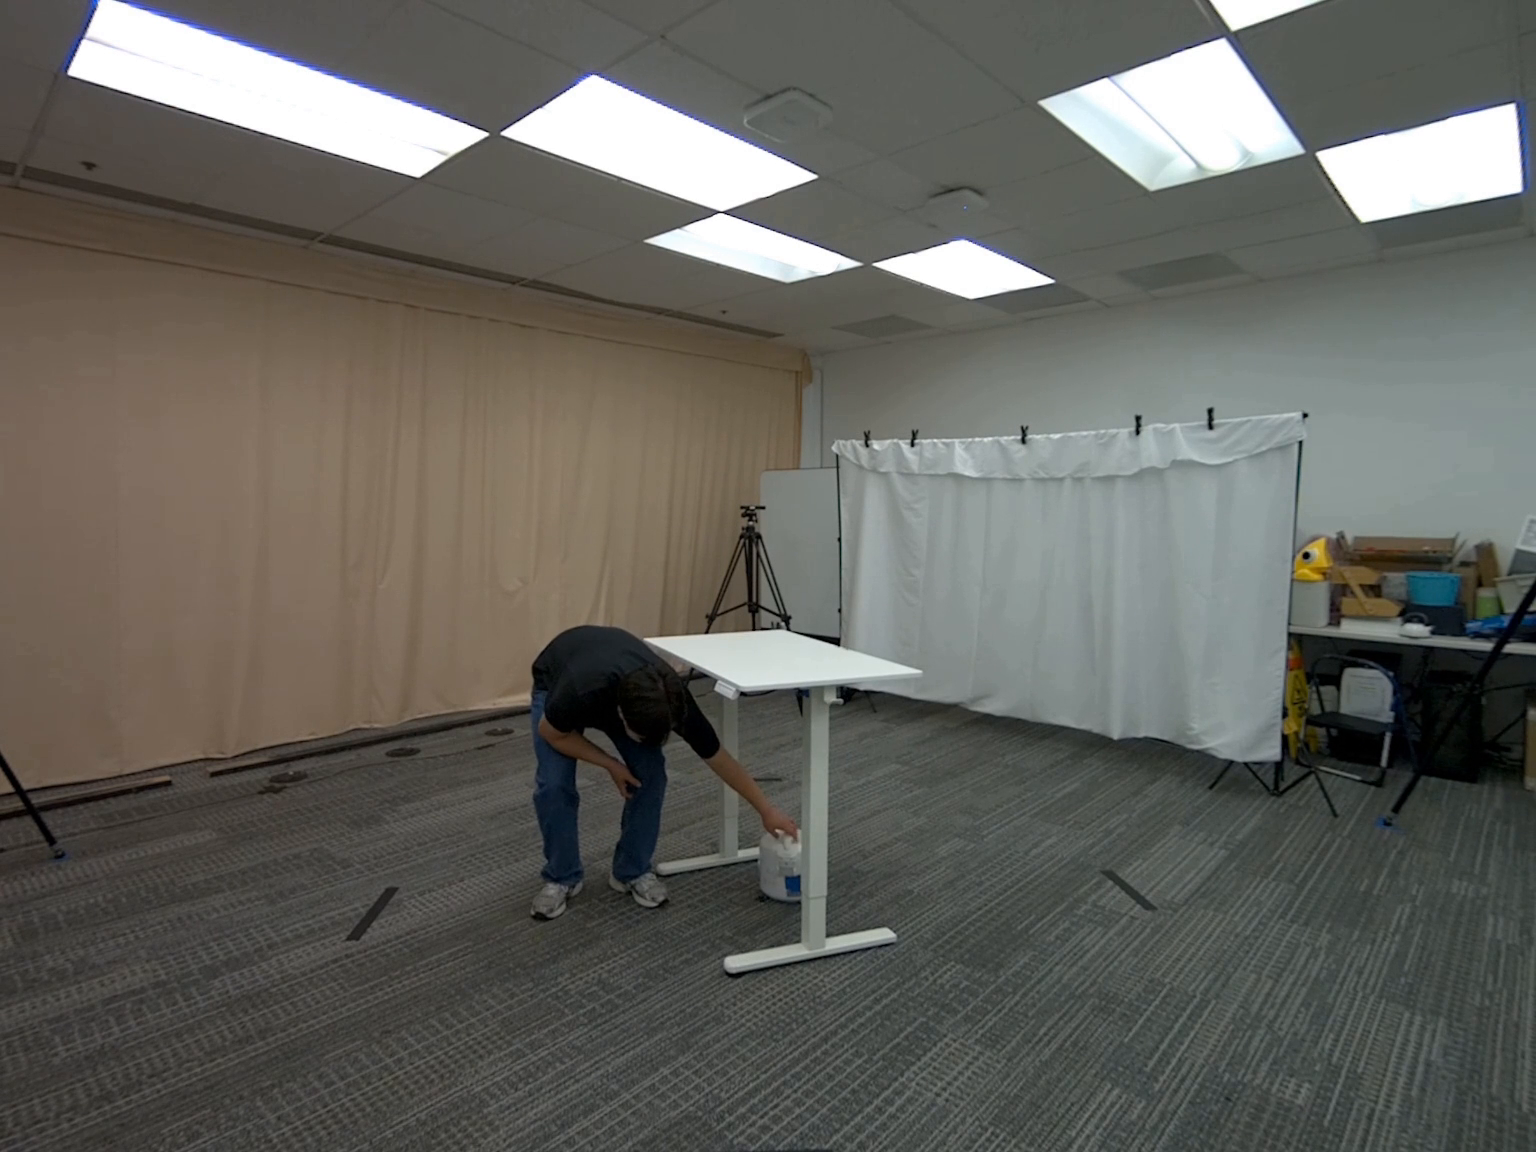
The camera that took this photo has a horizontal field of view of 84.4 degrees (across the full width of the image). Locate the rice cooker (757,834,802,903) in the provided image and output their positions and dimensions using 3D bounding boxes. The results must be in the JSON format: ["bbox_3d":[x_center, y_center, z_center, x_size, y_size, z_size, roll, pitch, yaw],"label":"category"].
[{"bbox_3d":[0.076,1.024,3.020,0.220,0.232,0.219,2,4,9],"label":"rice cooker"}]
